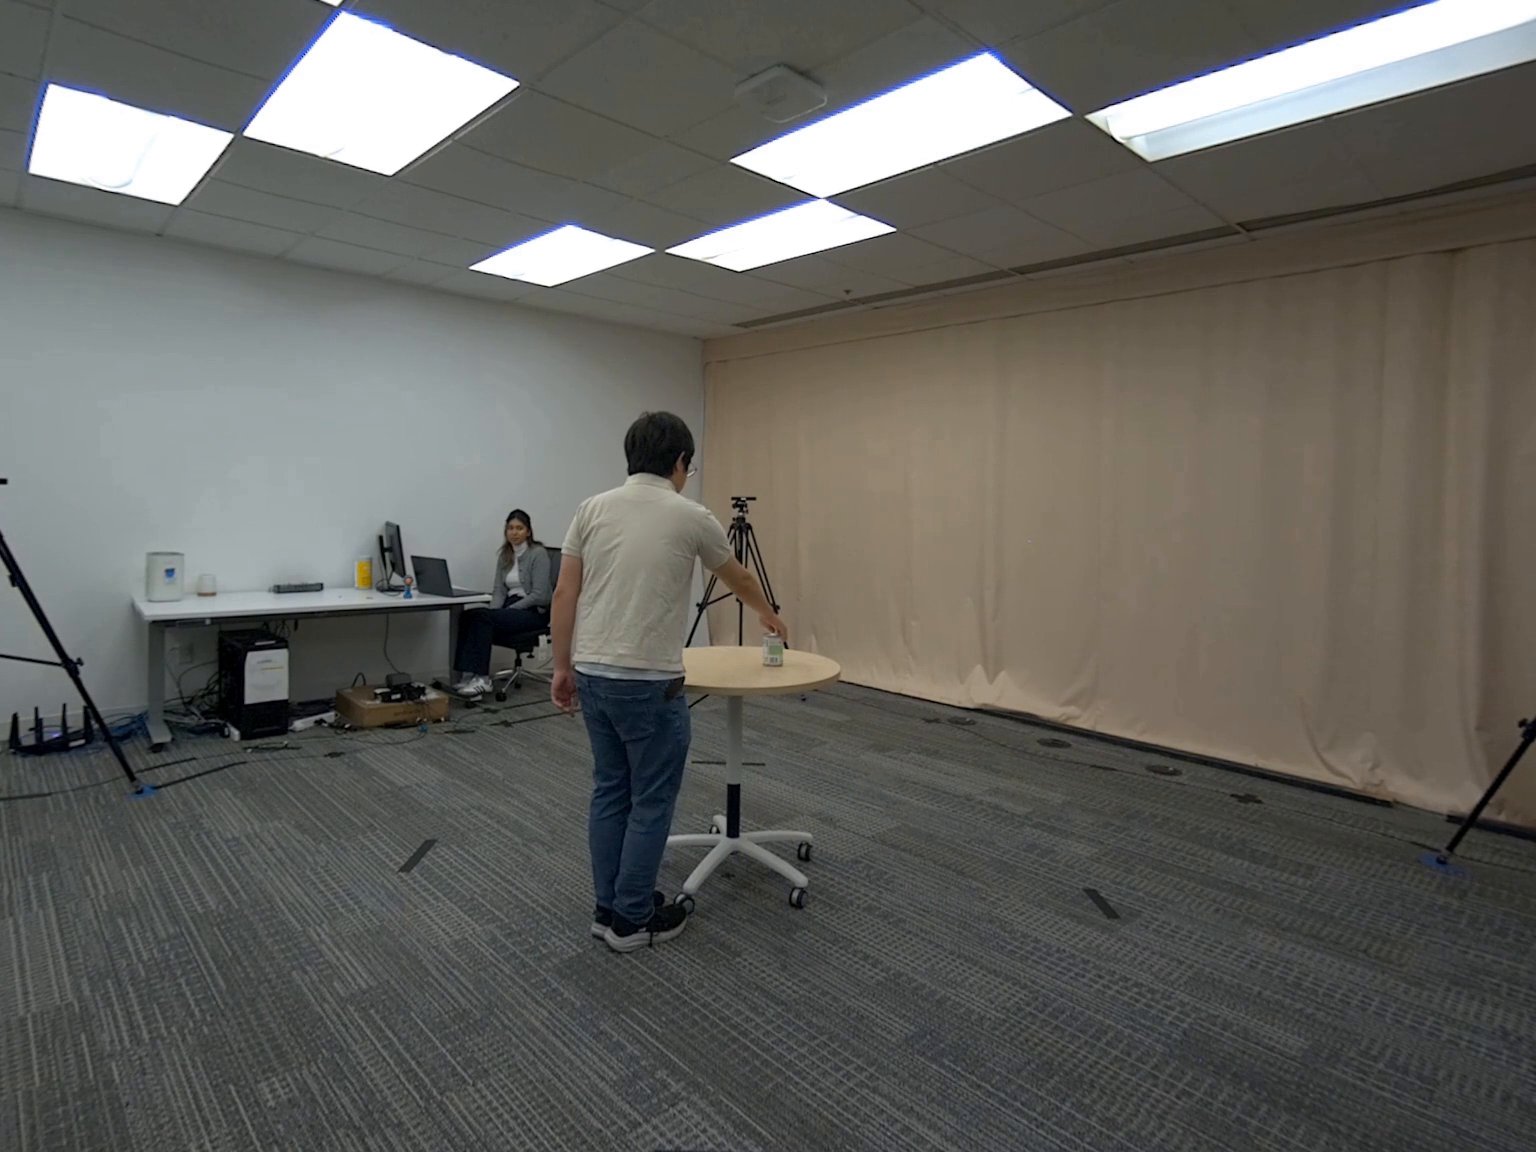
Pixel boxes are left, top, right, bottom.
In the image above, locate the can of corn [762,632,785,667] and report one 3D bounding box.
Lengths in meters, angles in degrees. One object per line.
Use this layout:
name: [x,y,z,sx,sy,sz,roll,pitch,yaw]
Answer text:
can of corn: [0.006,0.273,3.077,0.074,0.110,0.074,2,7,-2]
